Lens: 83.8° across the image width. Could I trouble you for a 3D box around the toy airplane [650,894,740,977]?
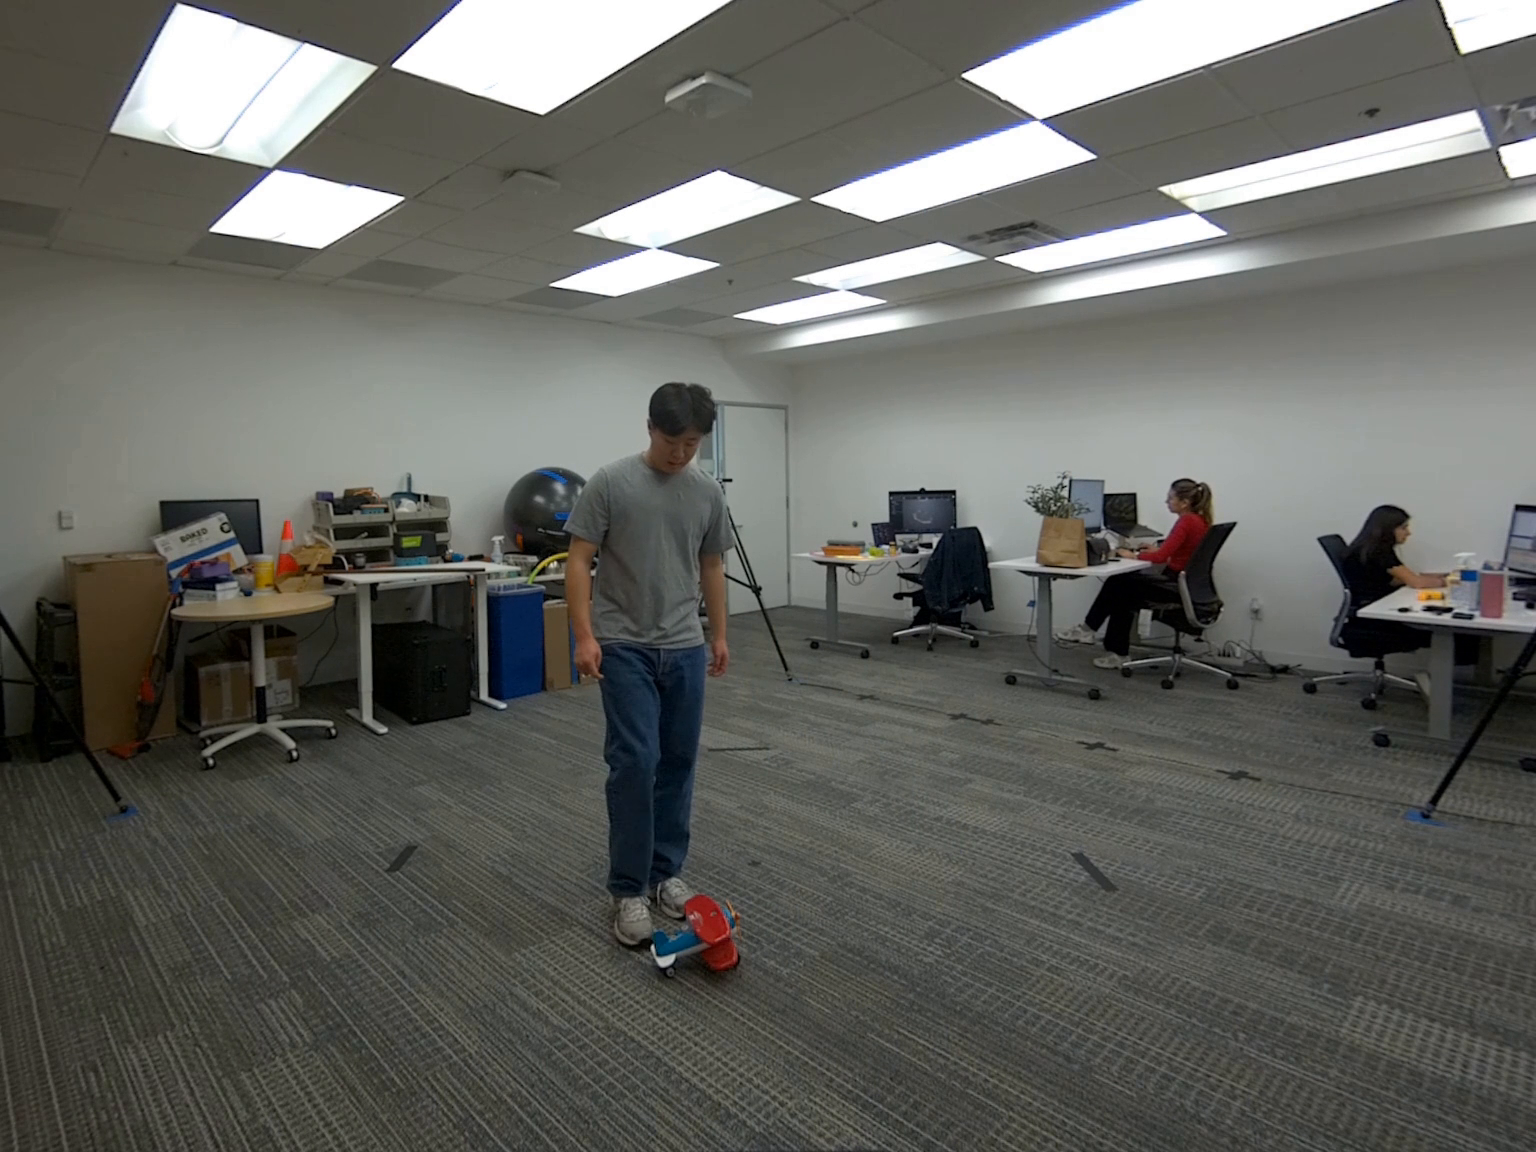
[{"bbox_3d":[-0.188,1.057,2.433,0.259,0.156,0.252,4,7,41],"label":"toy airplane"}]
